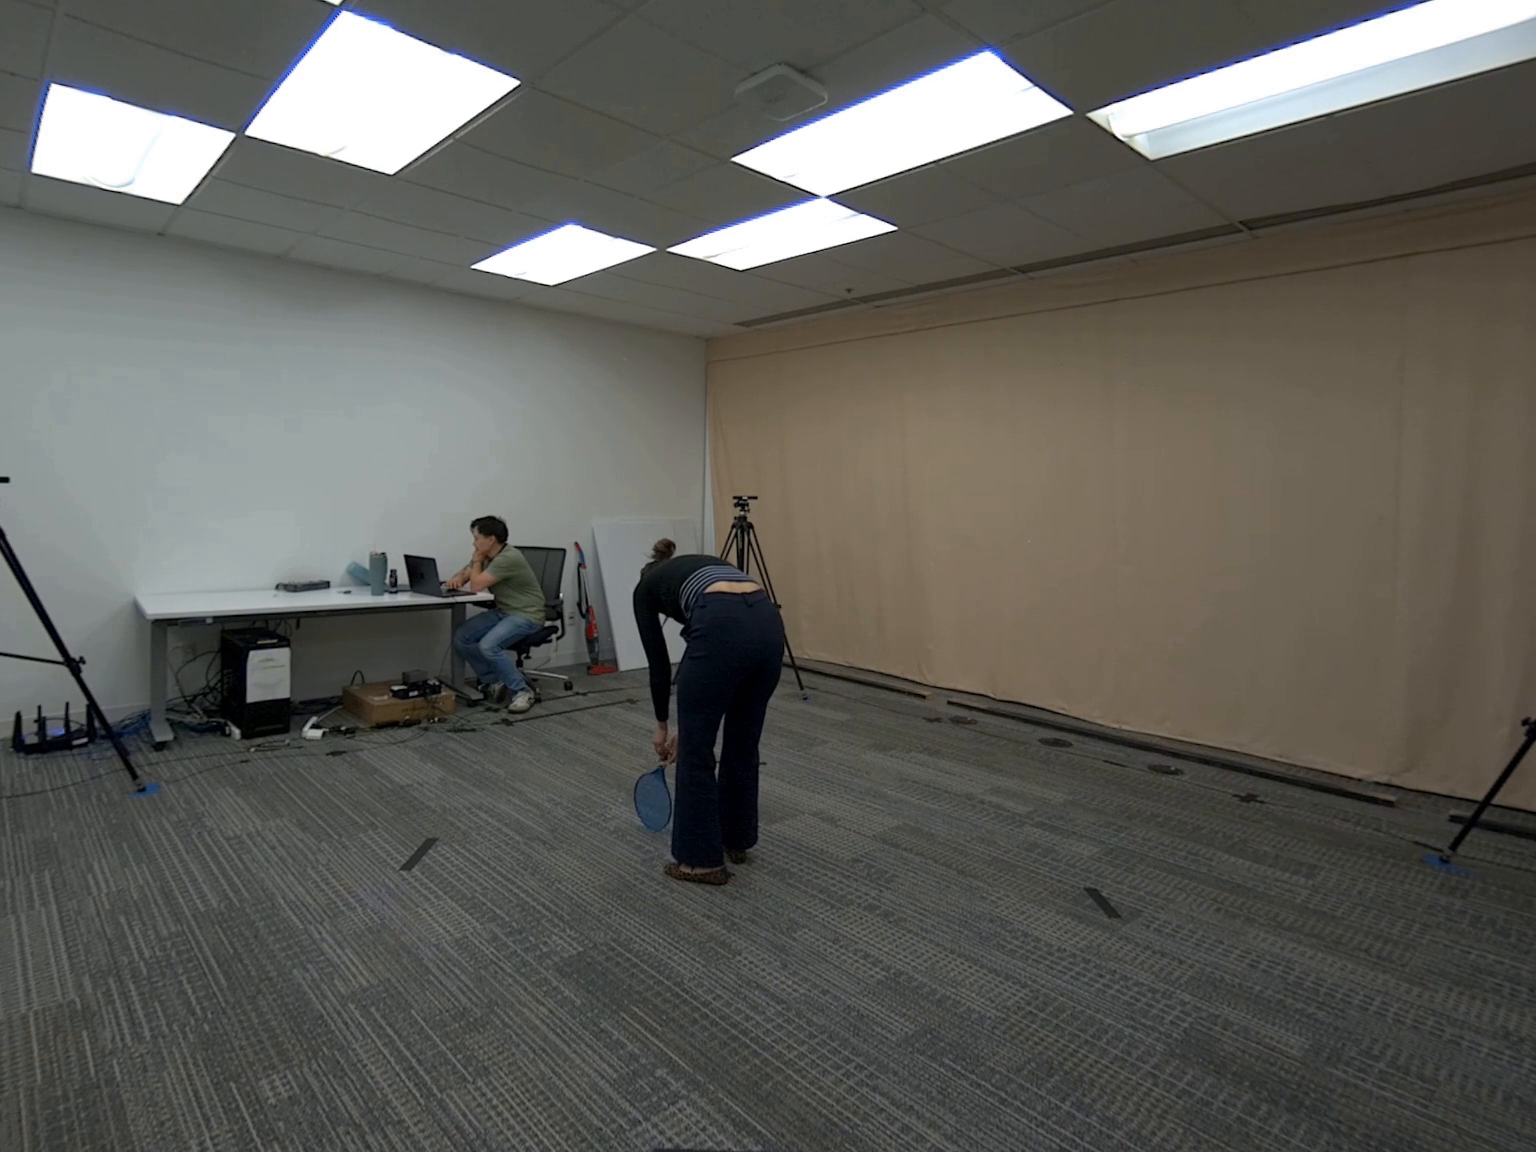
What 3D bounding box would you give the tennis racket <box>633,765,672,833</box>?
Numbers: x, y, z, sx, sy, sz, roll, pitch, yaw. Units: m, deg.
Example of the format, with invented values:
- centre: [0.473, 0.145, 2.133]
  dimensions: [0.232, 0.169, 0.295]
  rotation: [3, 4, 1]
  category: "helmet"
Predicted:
- centre: [-0.457, 0.862, 3.442]
  dimensions: [0.220, 0.428, 0.031]
  rotation: [36, 31, 29]
  category: "tennis racket"
